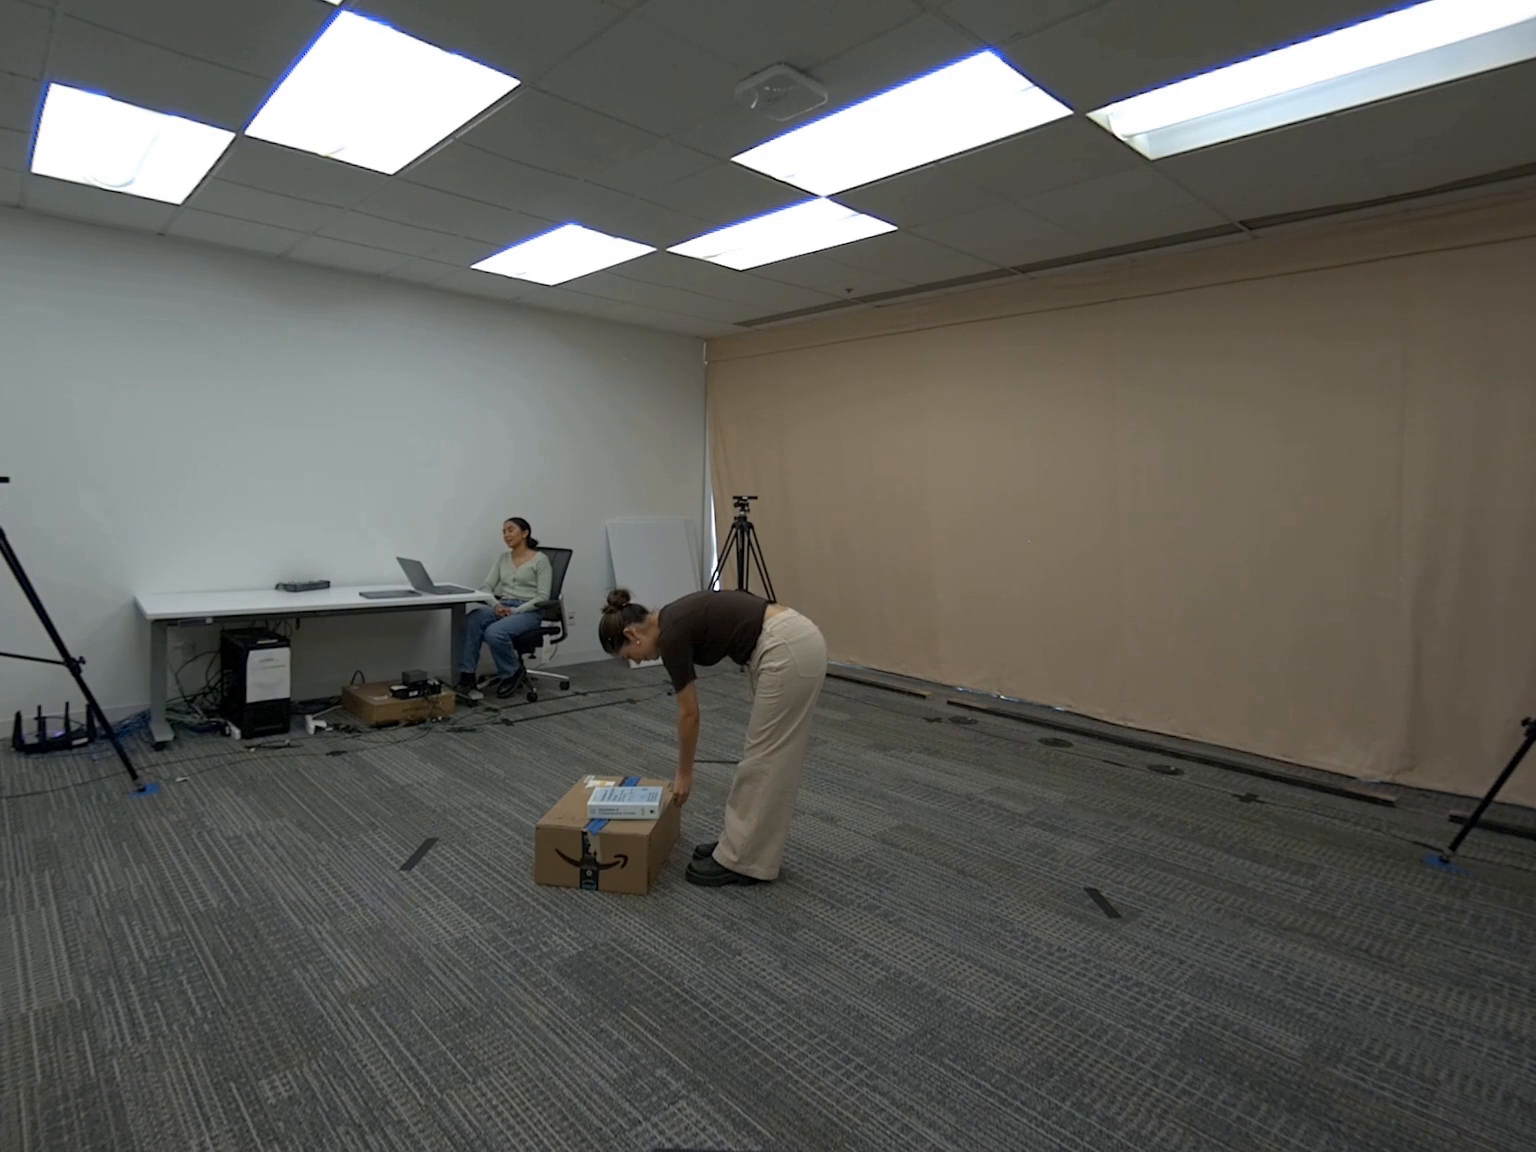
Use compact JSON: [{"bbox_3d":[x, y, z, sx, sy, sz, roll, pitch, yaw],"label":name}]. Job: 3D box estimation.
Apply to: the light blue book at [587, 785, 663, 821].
[{"bbox_3d":[-0.532,0.844,3.155,0.261,0.059,0.192,0,4,1],"label":"light blue book"}]
